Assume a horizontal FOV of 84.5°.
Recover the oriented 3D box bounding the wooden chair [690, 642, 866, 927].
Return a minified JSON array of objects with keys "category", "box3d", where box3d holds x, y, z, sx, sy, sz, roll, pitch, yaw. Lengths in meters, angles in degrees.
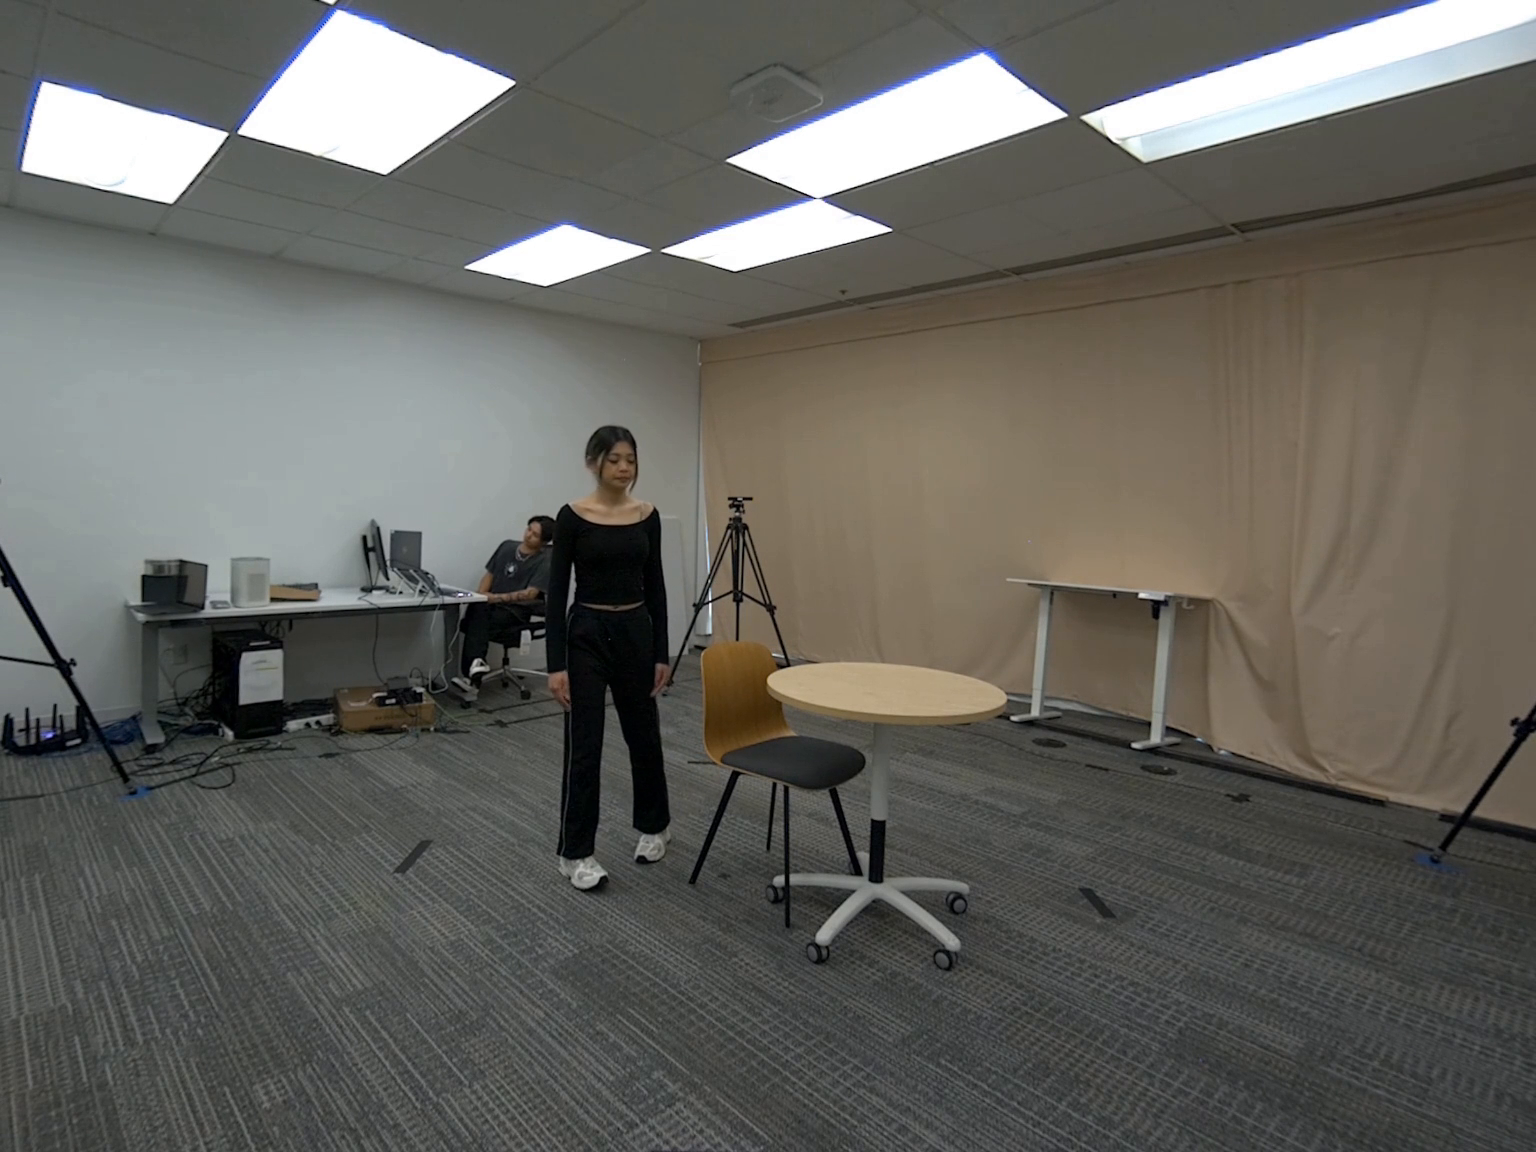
[{"category":"wooden chair","box3d":[0.044,0.690,3.012,0.535,0.878,0.467,-2,0,42]}]
